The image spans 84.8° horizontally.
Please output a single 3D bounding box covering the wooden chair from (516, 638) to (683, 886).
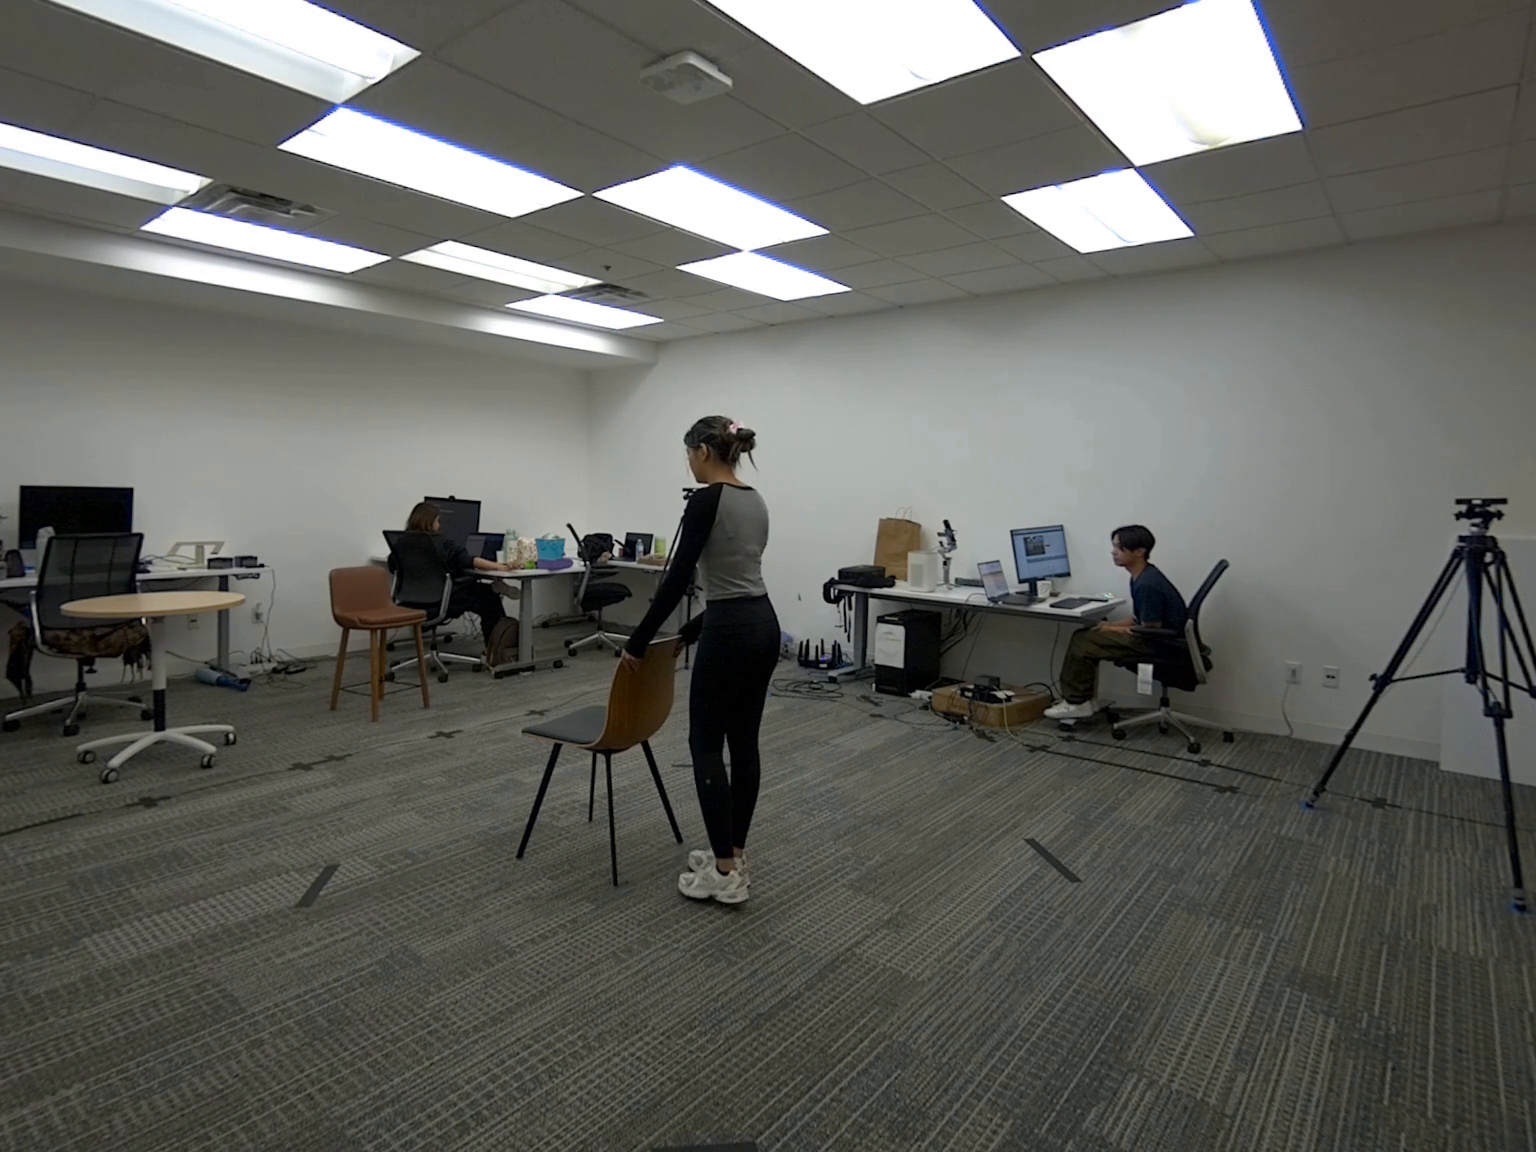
[{"bbox_3d":[-0.644,0.622,3.229,0.538,0.873,0.467,8,6,26],"label":"wooden chair"}]
